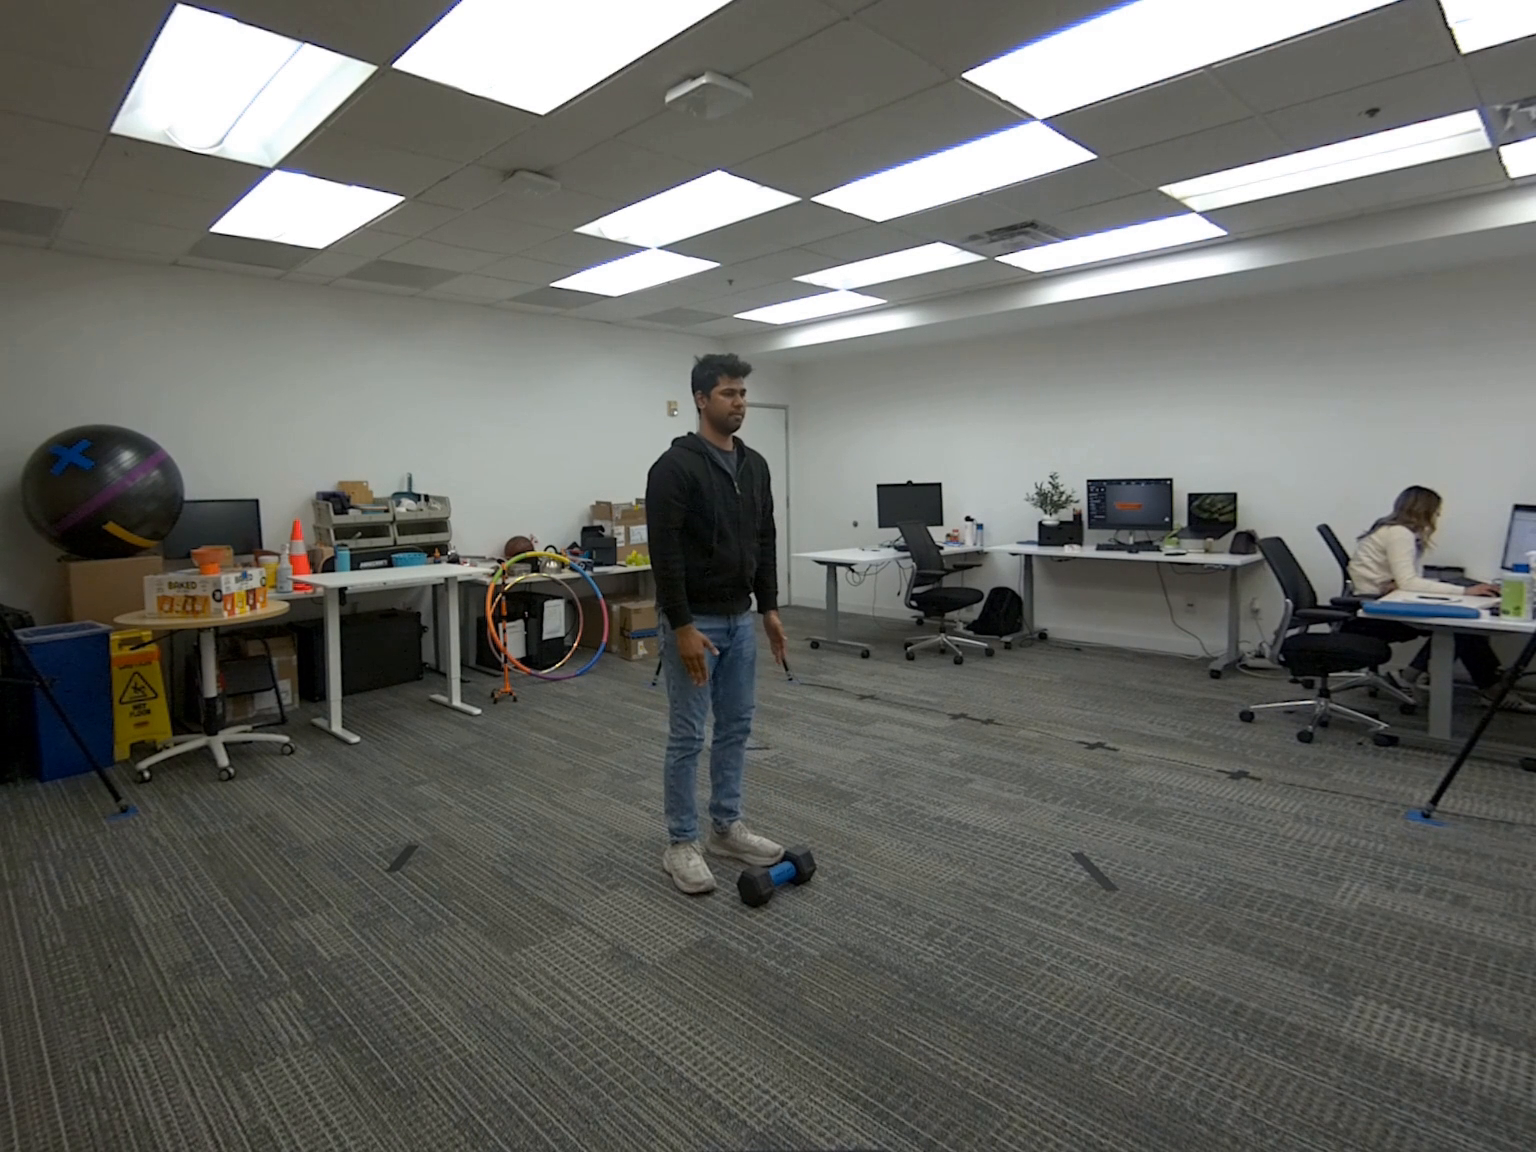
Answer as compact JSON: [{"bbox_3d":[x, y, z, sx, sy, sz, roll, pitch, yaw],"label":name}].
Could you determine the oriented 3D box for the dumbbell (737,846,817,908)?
[{"bbox_3d":[0.036,1.012,2.891,0.286,0.125,0.109,-7,-23,-46],"label":"dumbbell"}]
